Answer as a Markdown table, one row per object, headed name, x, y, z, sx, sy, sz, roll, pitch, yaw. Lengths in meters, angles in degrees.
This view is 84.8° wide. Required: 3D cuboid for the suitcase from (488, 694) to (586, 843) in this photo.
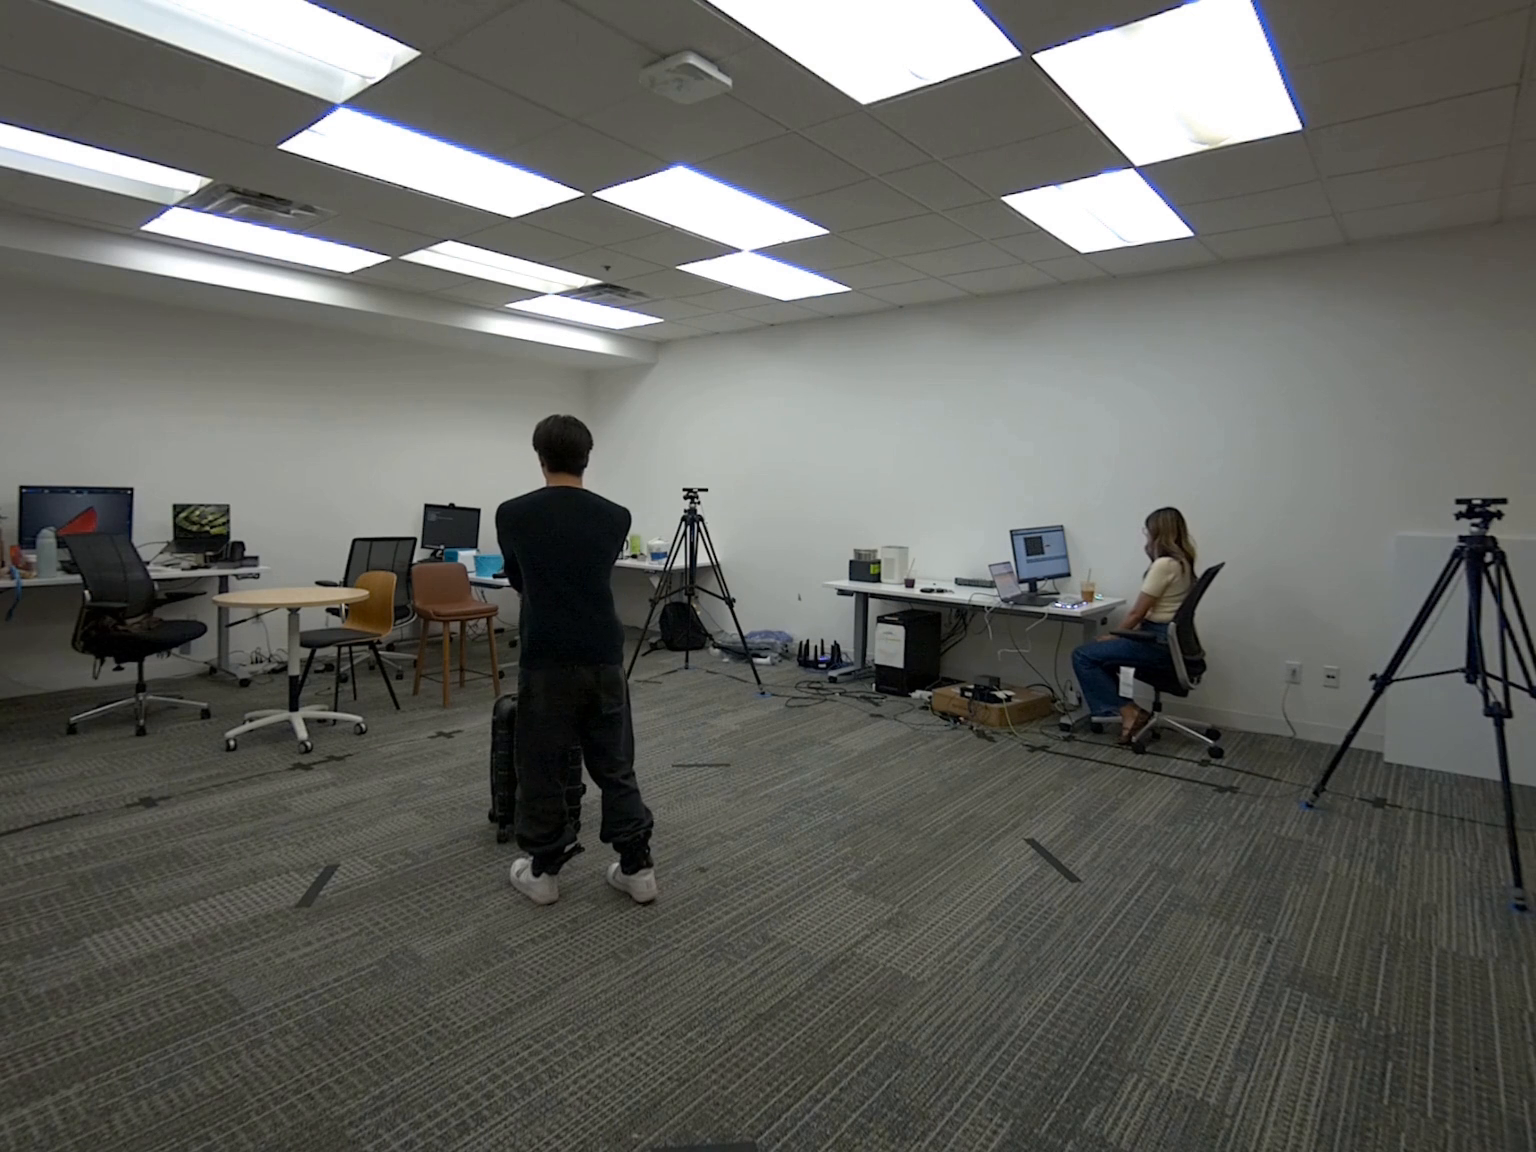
| name | x | y | z | sx | sy | sz | roll | pitch | yaw |
| --- | --- | --- | --- | --- | --- | --- | --- | --- | --- |
| suitcase | -0.964 | 0.548 | 3.491 | 0.377 | 0.981 | 0.261 | 1 | -2 | -18 |
